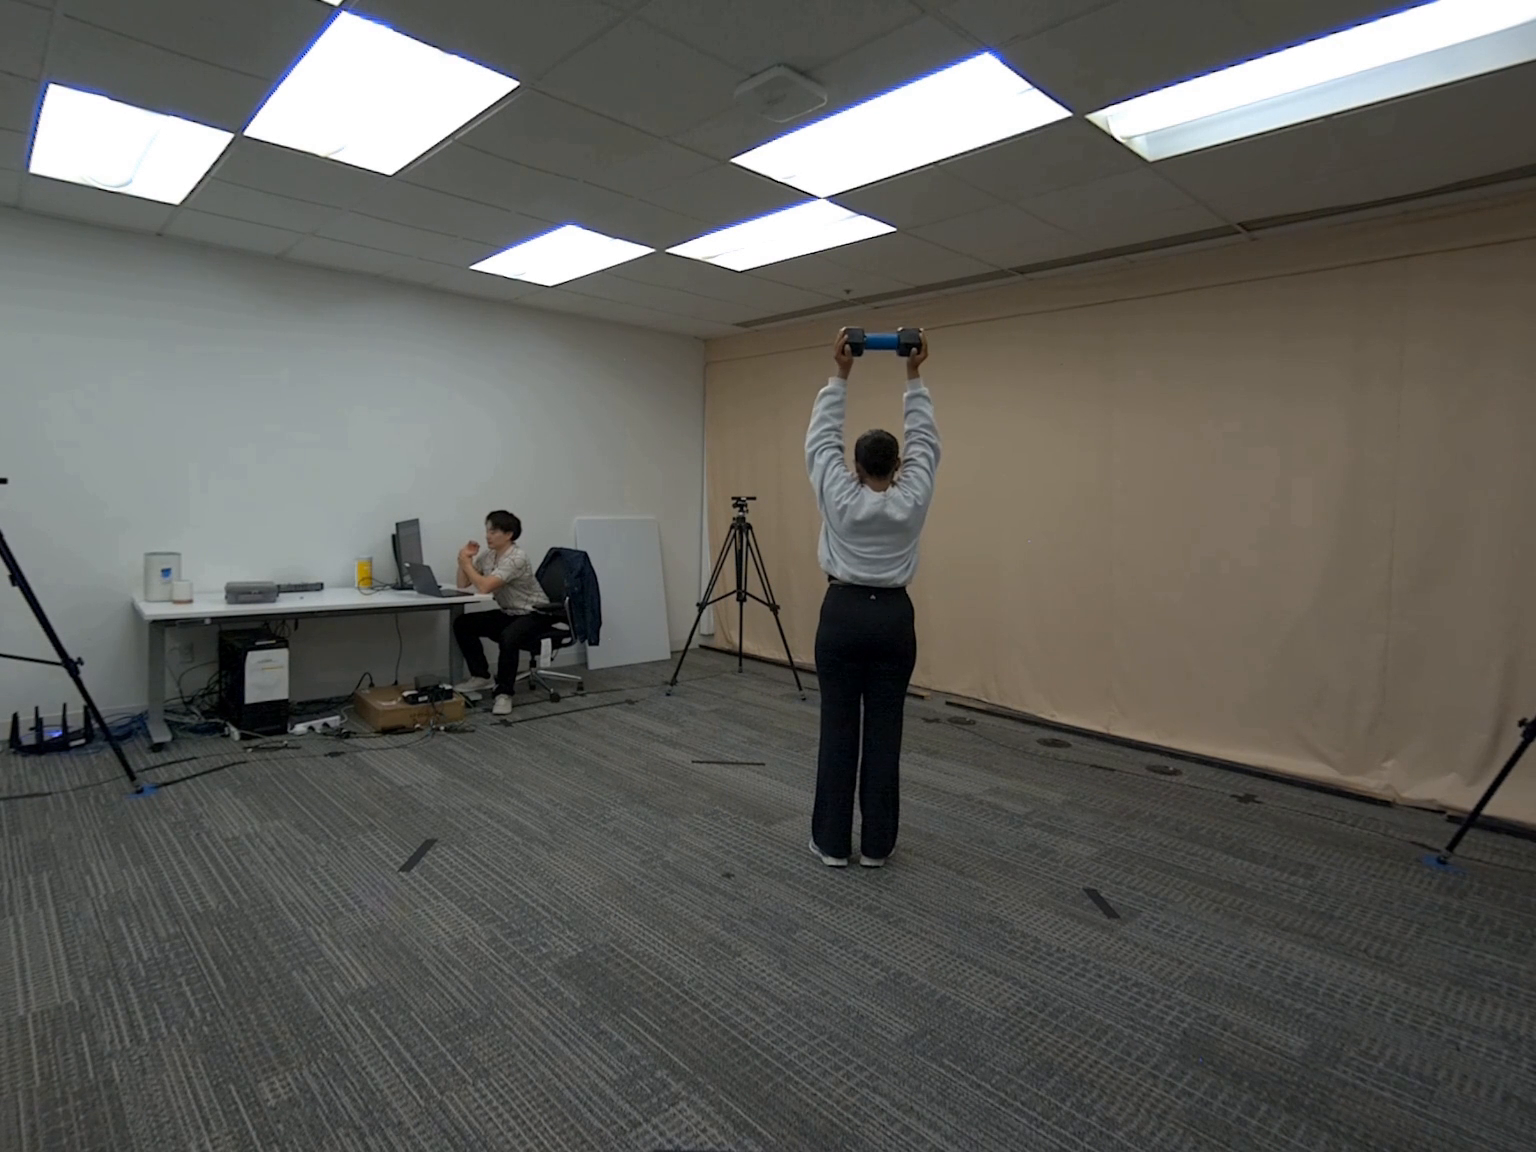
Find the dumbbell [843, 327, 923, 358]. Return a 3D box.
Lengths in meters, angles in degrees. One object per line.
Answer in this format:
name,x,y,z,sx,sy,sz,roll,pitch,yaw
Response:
dumbbell,0.416,-0.878,3.177,0.293,0.124,0.107,1,-18,0
